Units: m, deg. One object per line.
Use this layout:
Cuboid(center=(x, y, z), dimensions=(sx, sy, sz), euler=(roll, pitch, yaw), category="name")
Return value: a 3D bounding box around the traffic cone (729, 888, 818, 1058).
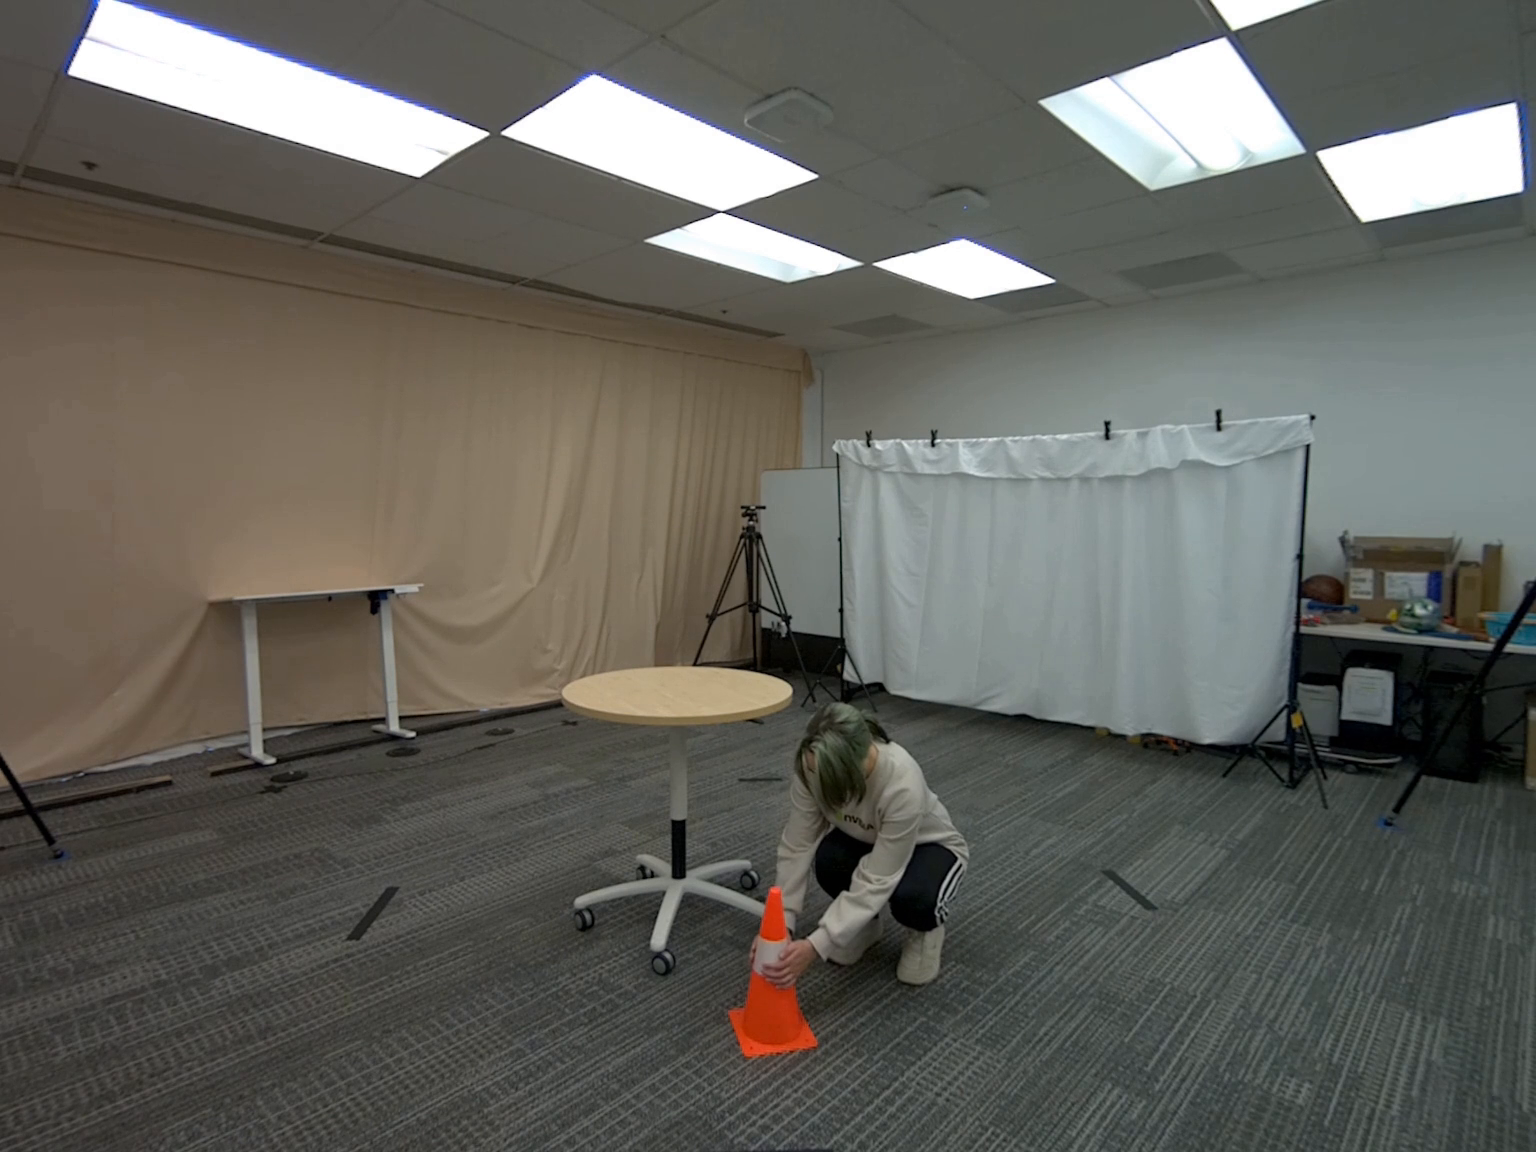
Cuboid(center=(0.019, 1.031, 2.229), dimensions=(0.202, 0.383, 0.206), euler=(1, 1, -12), category="traffic cone")
